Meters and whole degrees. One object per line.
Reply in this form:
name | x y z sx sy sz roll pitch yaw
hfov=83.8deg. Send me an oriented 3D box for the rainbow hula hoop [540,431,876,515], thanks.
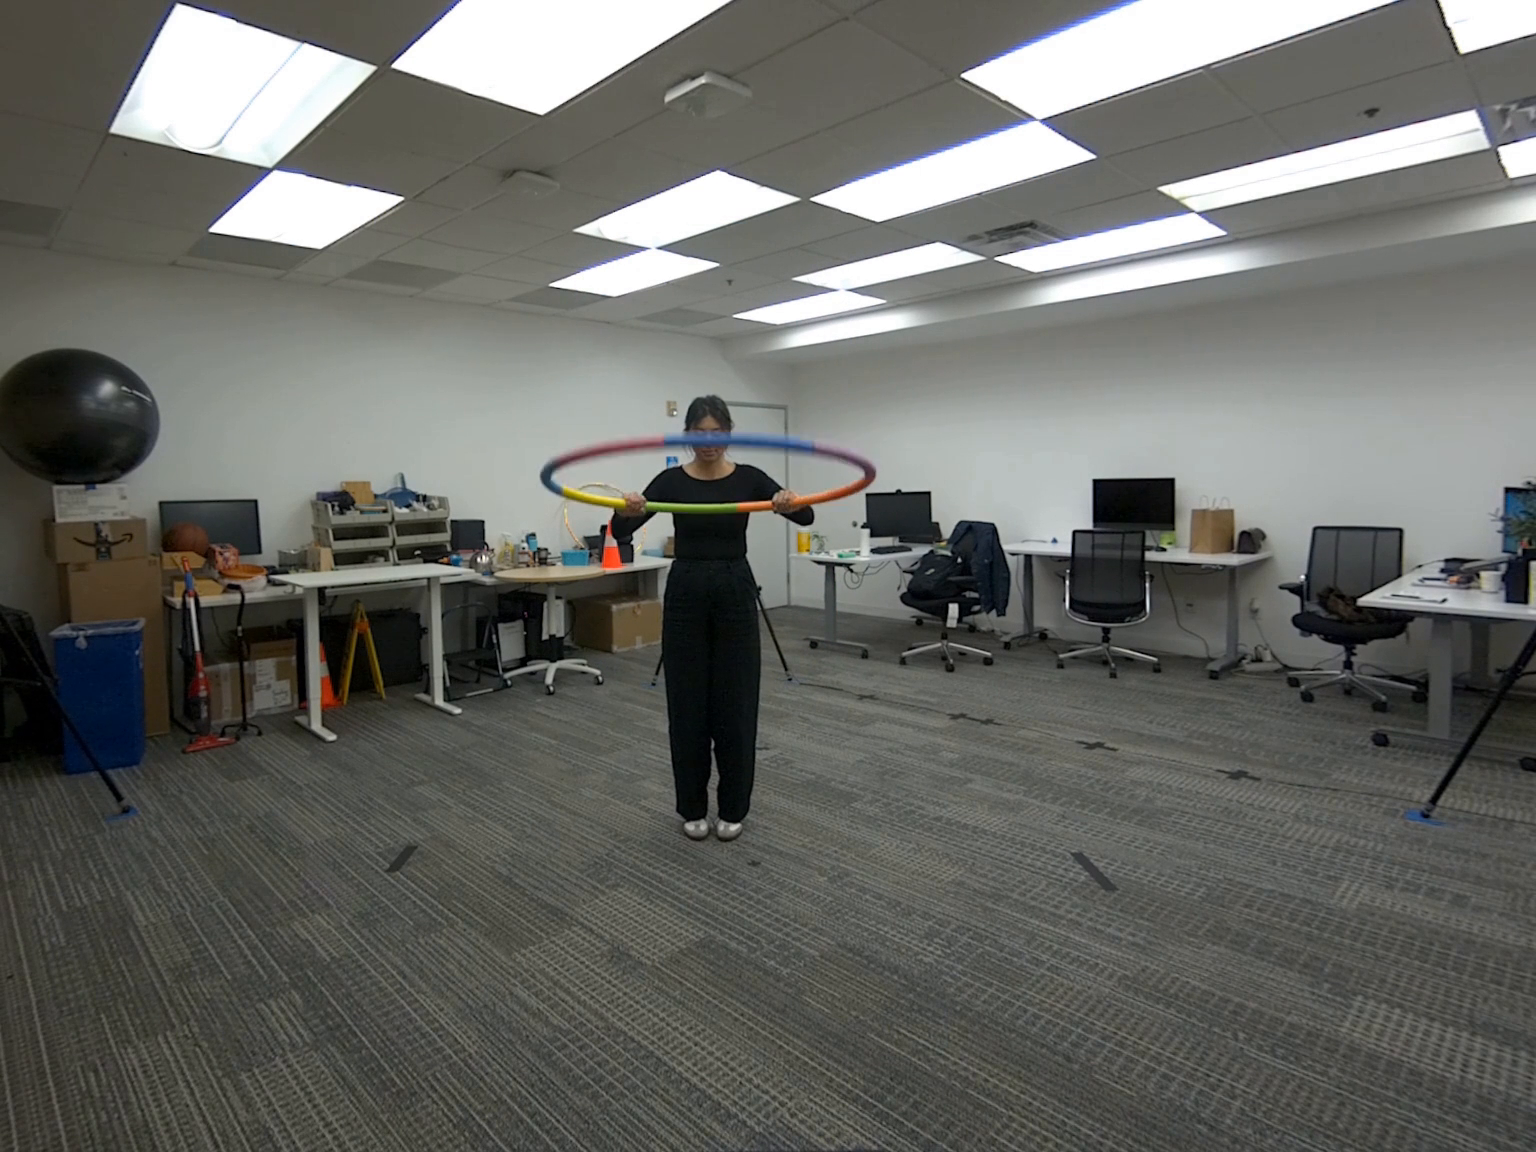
rainbow hula hoop | -0.181 -0.275 2.578 0.978 0.036 0.973 -1 -5 -2
